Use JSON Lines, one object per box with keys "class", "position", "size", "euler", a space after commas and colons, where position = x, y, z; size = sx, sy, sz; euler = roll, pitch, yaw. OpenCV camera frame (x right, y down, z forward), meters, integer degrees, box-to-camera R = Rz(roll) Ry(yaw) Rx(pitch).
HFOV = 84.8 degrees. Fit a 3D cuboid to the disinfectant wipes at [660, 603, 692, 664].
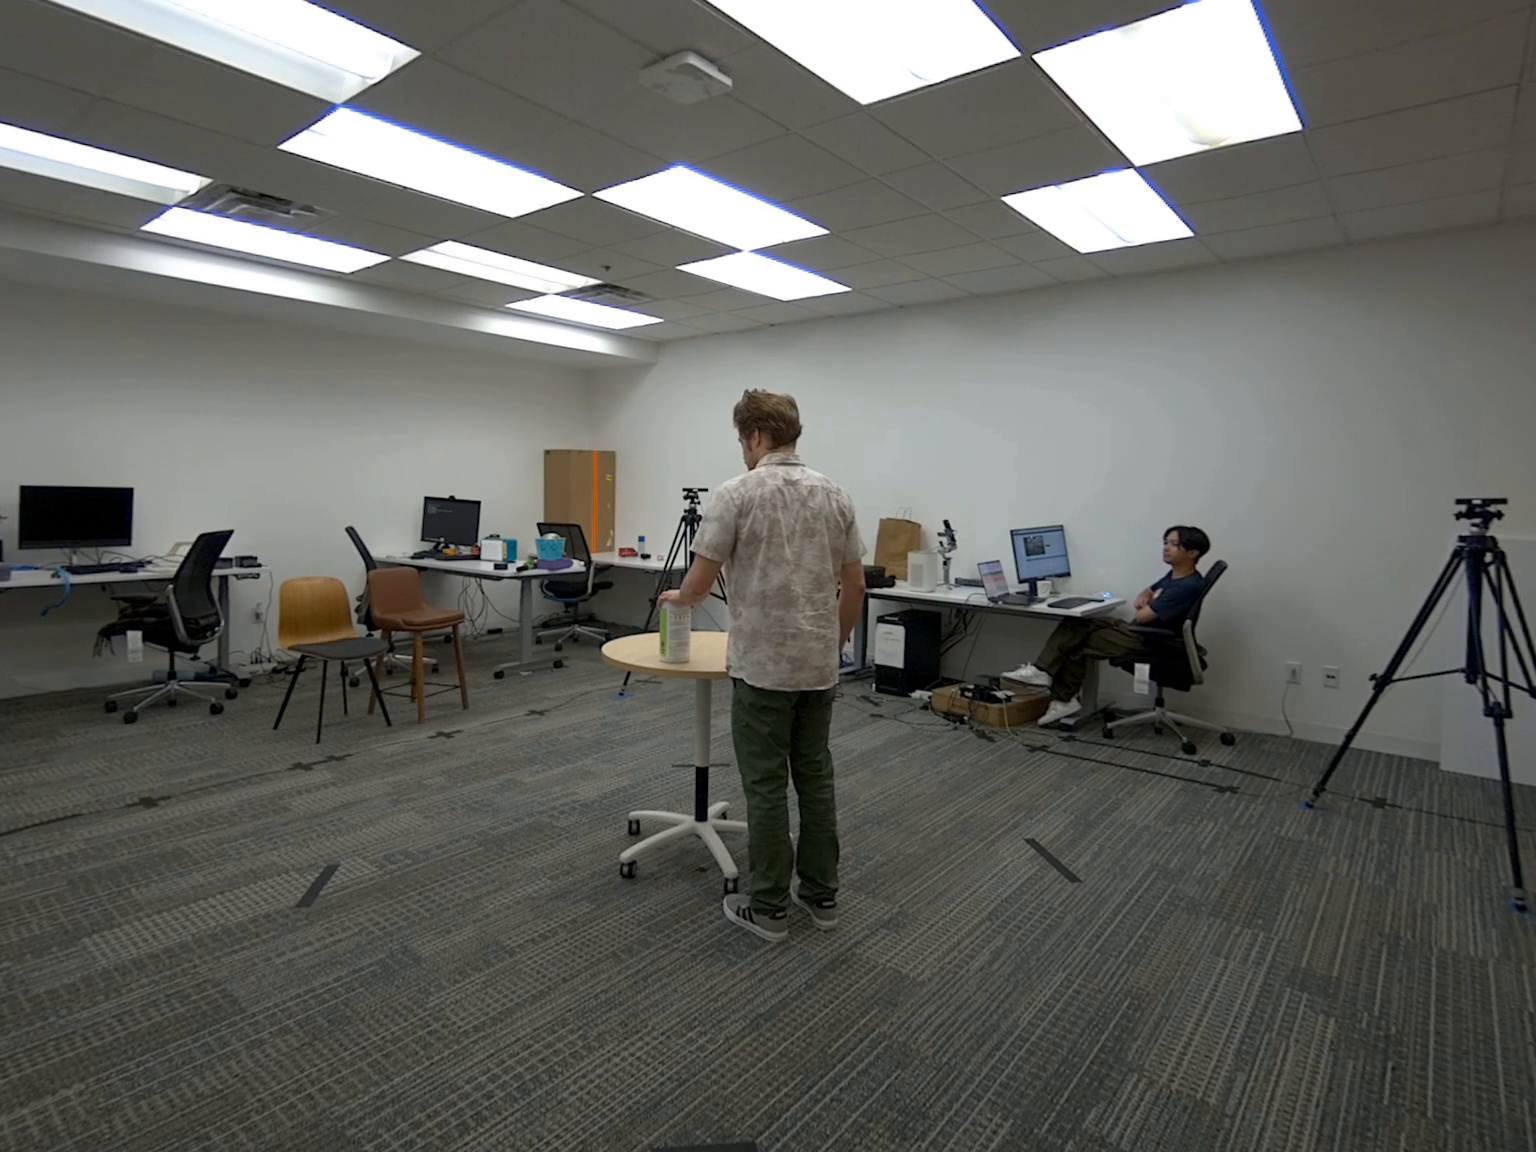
{"class": "disinfectant wipes", "position": [-0.331, 0.186, 2.960], "size": [0.118, 0.217, 0.118], "euler": [-1, 4, -2]}
